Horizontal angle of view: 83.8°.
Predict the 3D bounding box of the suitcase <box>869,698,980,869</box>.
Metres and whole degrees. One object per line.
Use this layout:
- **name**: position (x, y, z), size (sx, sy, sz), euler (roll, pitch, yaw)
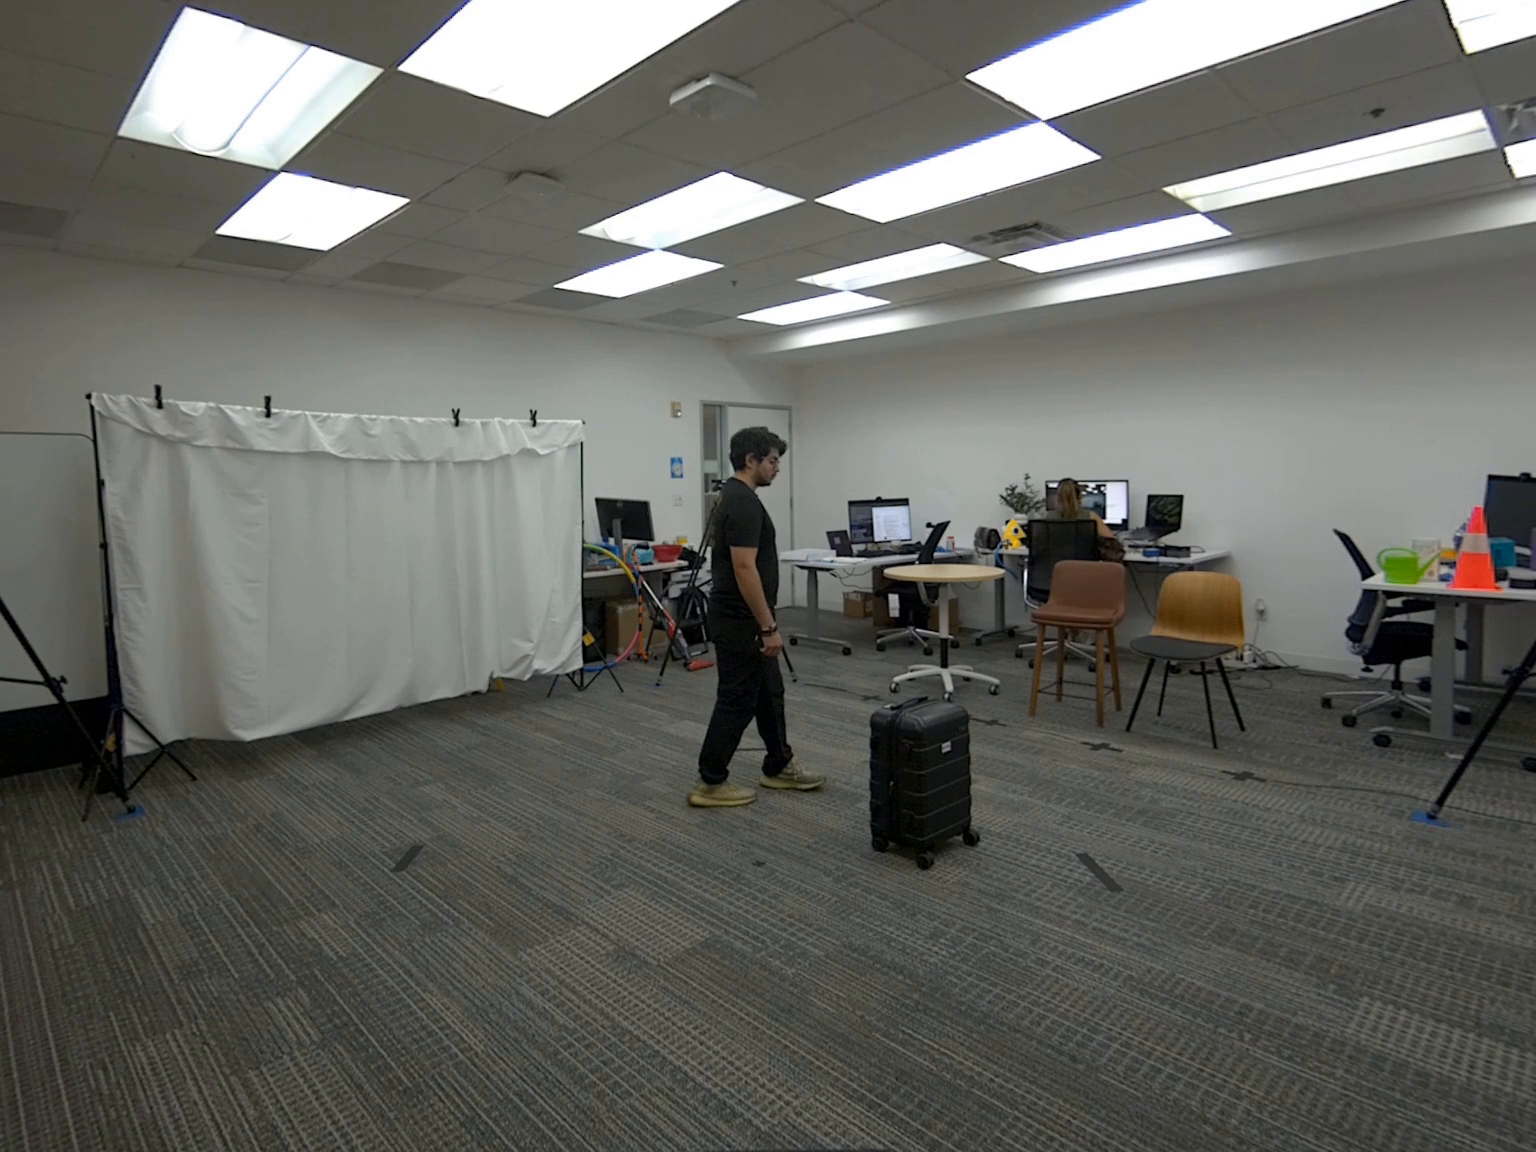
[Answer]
- **suitcase**: position (0.584, 0.747, 3.222), size (0.365, 0.548, 0.256), euler (-4, 3, -43)
